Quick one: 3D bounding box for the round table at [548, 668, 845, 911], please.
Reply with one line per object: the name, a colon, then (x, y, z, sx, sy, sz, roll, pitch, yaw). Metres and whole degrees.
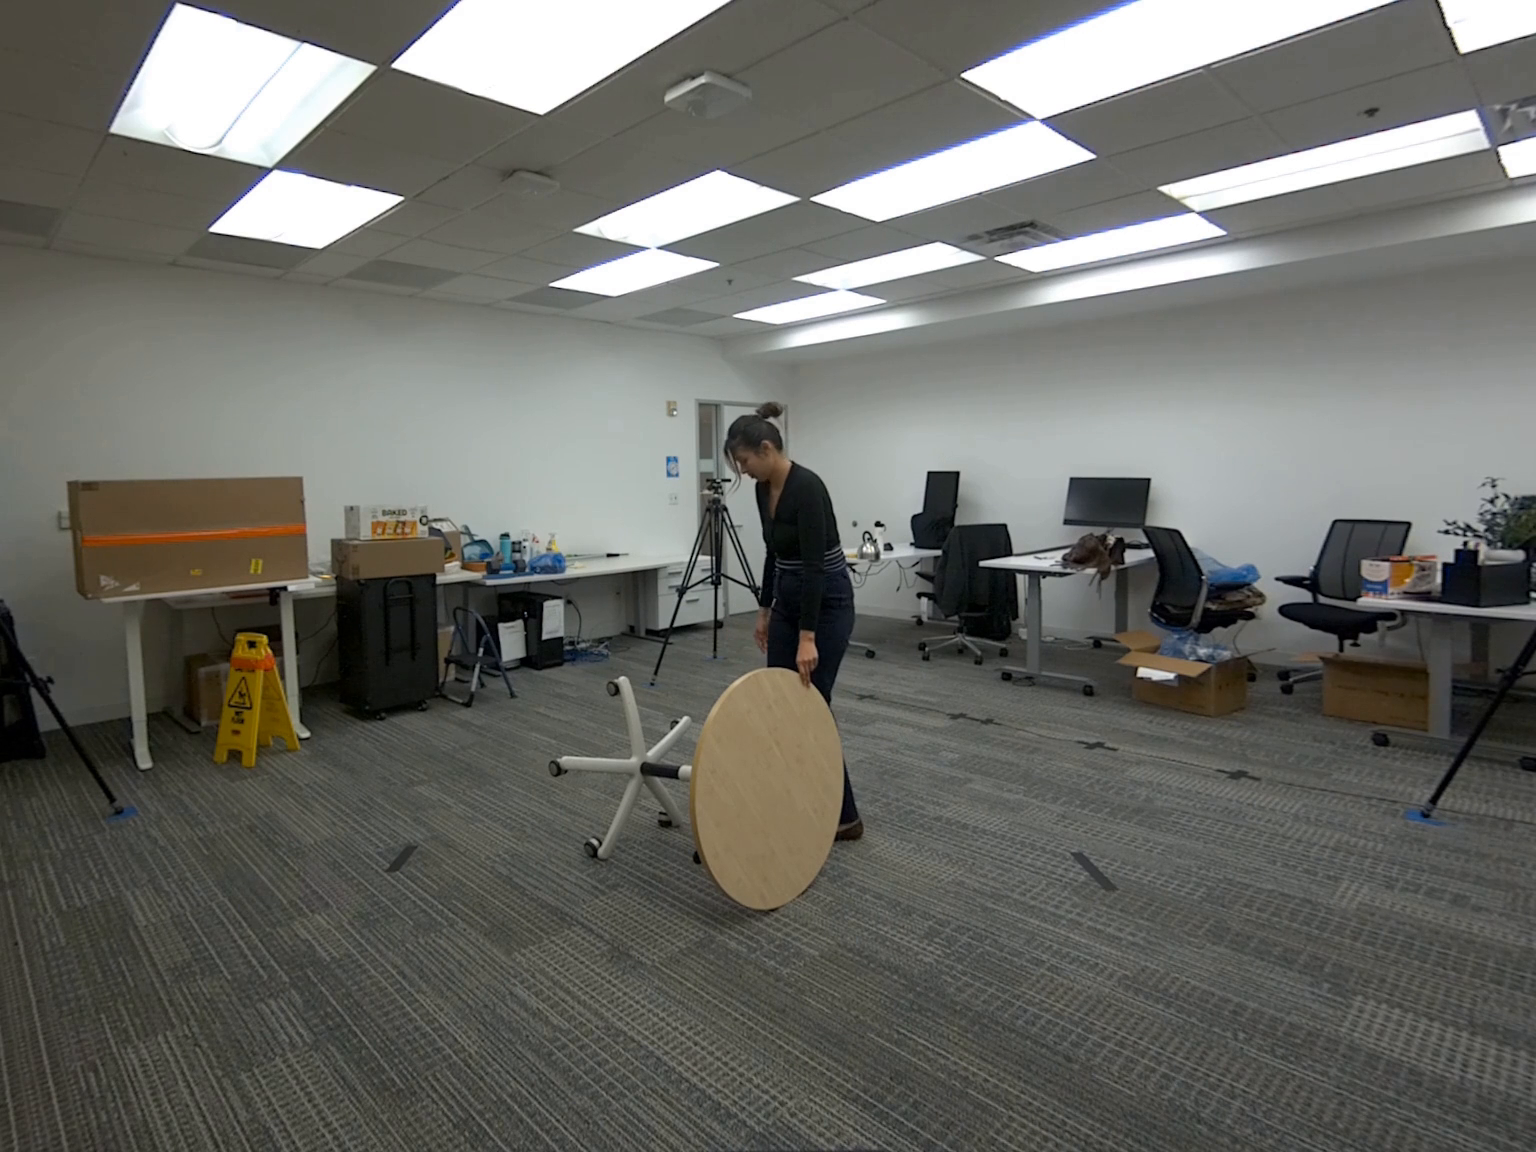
round table: (-0.271, 0.723, 3.098, 0.814, 0.765, 0.744, -7, 0, 41)
